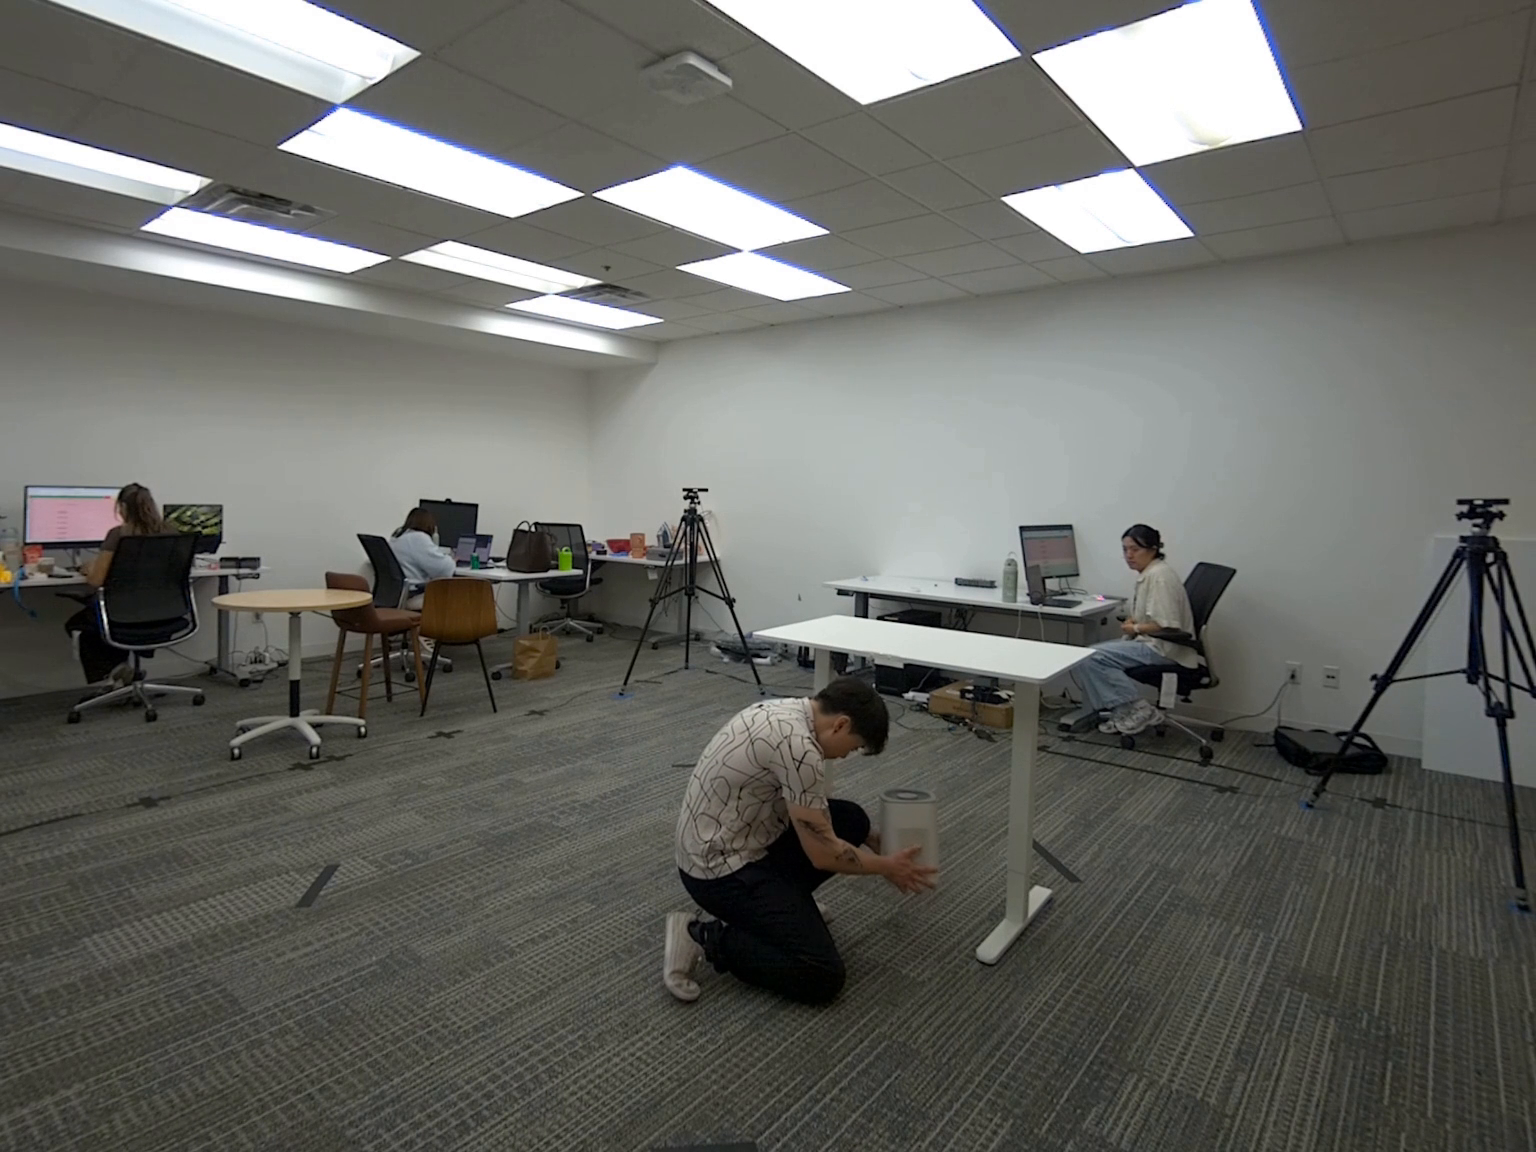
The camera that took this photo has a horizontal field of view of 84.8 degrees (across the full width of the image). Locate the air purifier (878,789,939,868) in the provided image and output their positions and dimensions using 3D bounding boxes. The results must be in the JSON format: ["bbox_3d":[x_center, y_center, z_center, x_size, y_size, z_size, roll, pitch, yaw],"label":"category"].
[{"bbox_3d":[0.423,0.810,2.609,0.172,0.266,0.170,-2,-1,3],"label":"air purifier"}]
